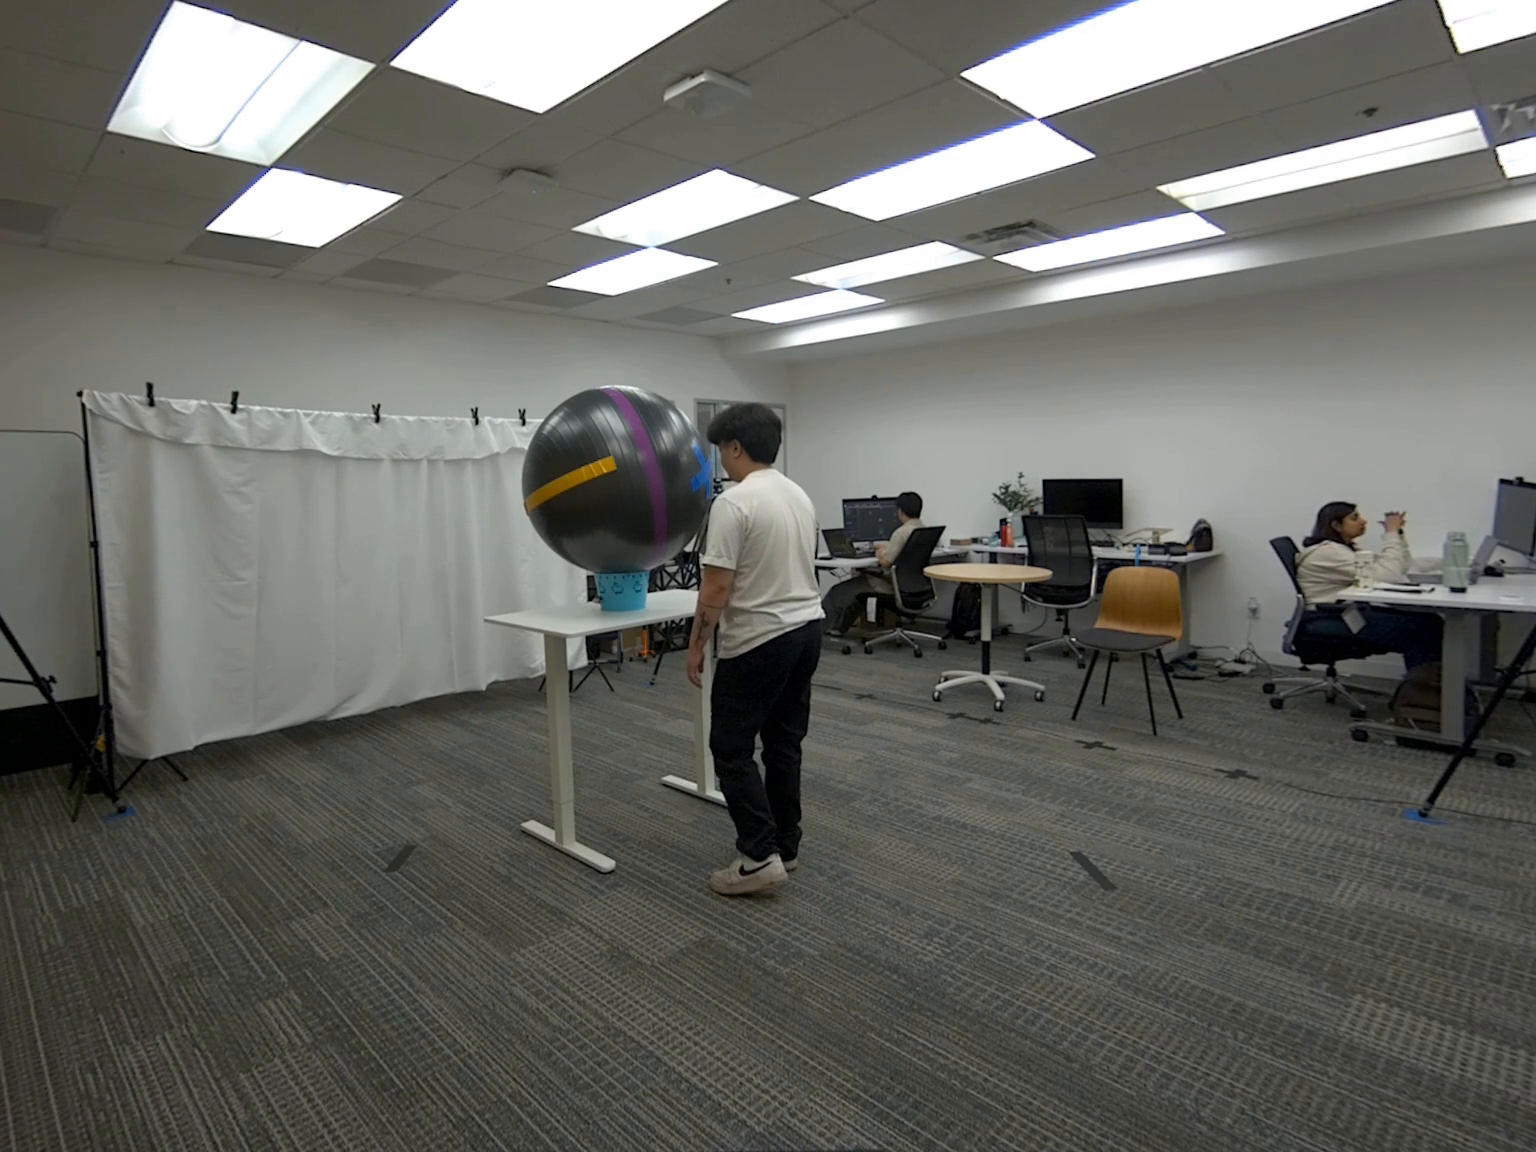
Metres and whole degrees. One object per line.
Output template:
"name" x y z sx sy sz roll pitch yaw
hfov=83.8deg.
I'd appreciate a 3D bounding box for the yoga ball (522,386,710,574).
"yoga ball" -0.604 -0.371 3.427 0.757 0.755 0.762 -1 5 -2
